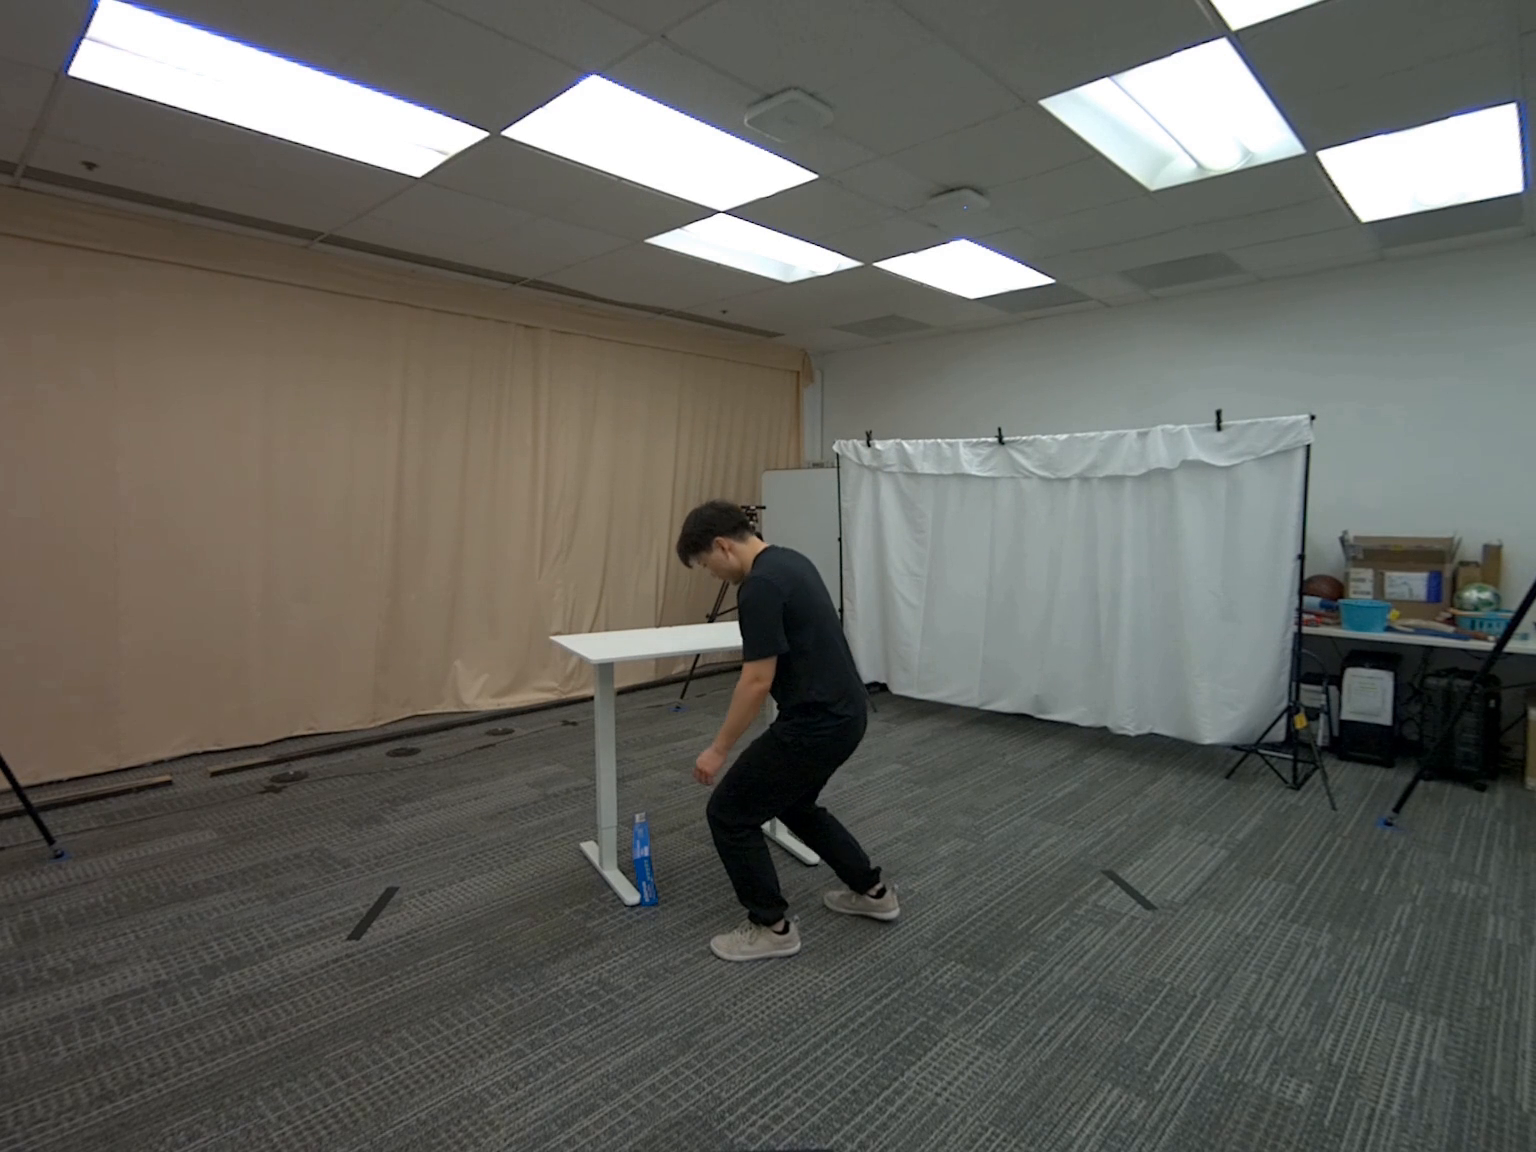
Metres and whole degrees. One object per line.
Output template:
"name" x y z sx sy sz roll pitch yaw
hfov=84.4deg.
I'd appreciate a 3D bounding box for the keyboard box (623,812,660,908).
"keyboard box" -0.460 1.046 3.142 0.059 0.175 0.441 -9 6 -7
